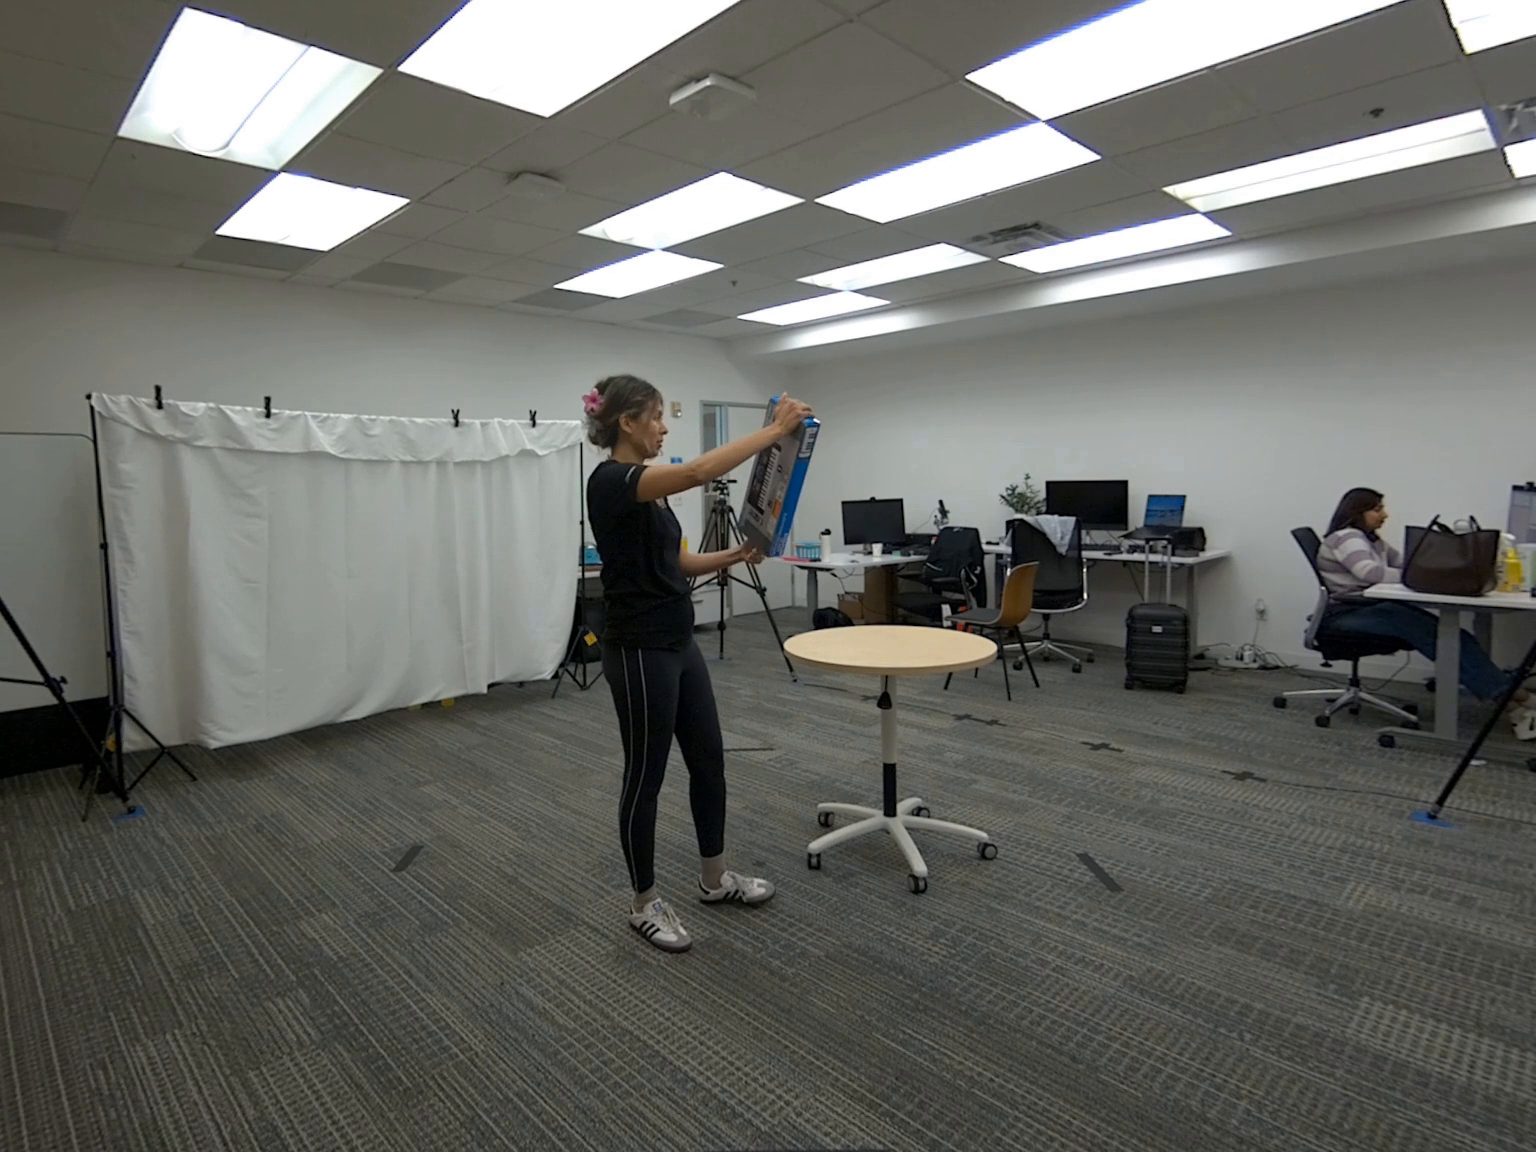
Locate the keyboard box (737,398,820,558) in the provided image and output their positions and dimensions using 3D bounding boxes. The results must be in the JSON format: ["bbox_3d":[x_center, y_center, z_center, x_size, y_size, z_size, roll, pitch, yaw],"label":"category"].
[{"bbox_3d":[0.022,-0.276,2.482,0.058,0.430,0.183,-6,36,-33],"label":"keyboard box"}]
